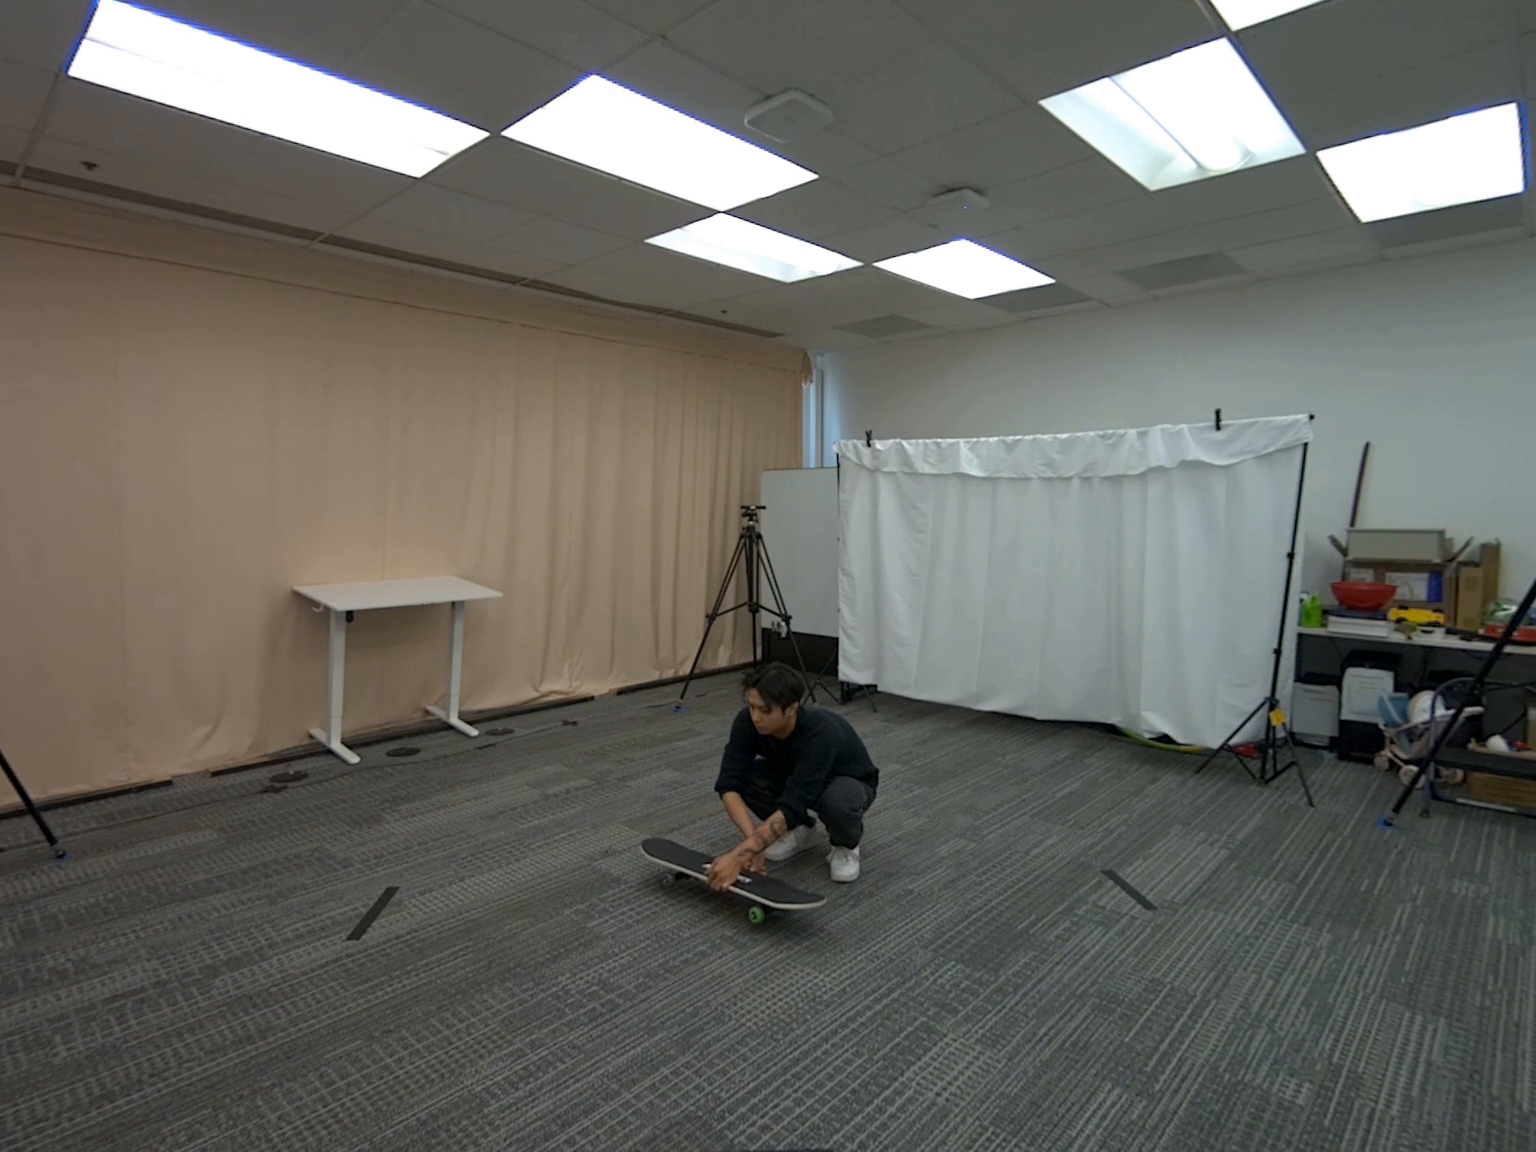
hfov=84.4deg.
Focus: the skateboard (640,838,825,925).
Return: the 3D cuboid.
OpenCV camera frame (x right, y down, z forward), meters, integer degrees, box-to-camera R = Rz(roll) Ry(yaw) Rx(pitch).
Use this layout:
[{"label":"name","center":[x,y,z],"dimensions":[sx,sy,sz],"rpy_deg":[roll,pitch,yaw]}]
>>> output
[{"label":"skateboard","center":[-0.142,1.058,2.922],"dimensions":[0.811,0.110,0.187],"rpy_deg":[3,-2,39]}]
